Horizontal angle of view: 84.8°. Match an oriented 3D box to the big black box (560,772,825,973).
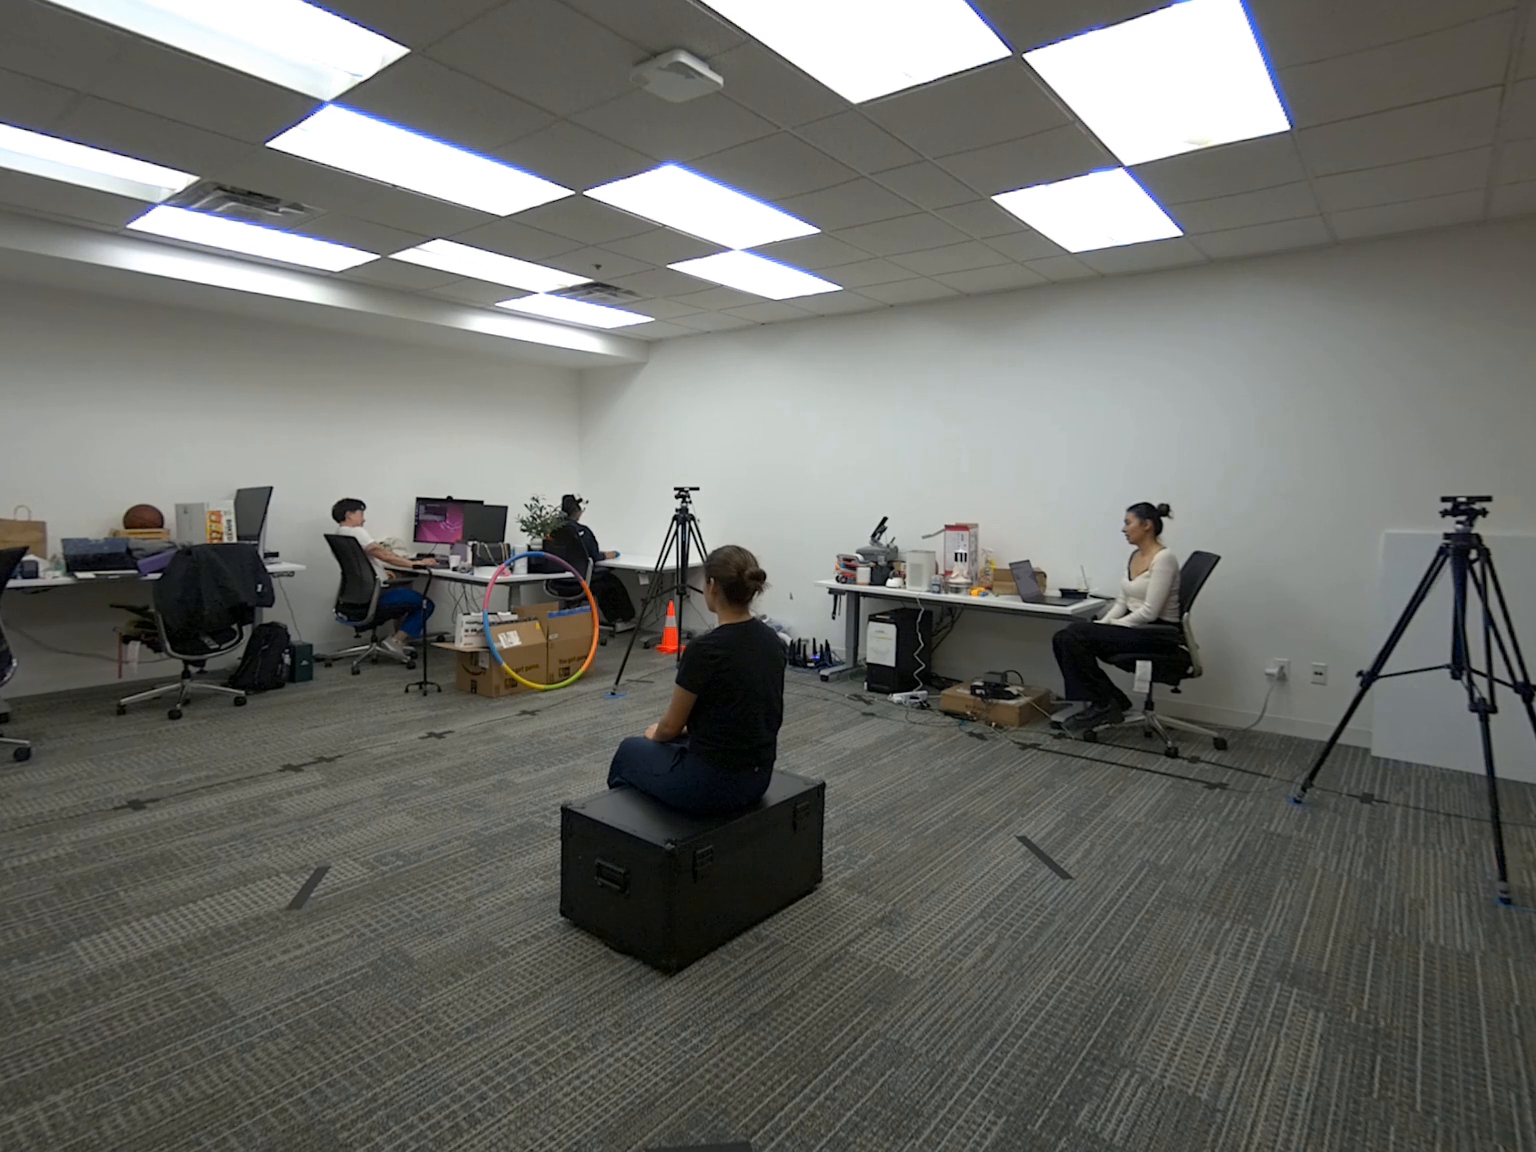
[{"bbox_3d":[-0.199,0.903,2.863,0.539,0.394,0.837,5,7,39],"label":"big black box"}]
